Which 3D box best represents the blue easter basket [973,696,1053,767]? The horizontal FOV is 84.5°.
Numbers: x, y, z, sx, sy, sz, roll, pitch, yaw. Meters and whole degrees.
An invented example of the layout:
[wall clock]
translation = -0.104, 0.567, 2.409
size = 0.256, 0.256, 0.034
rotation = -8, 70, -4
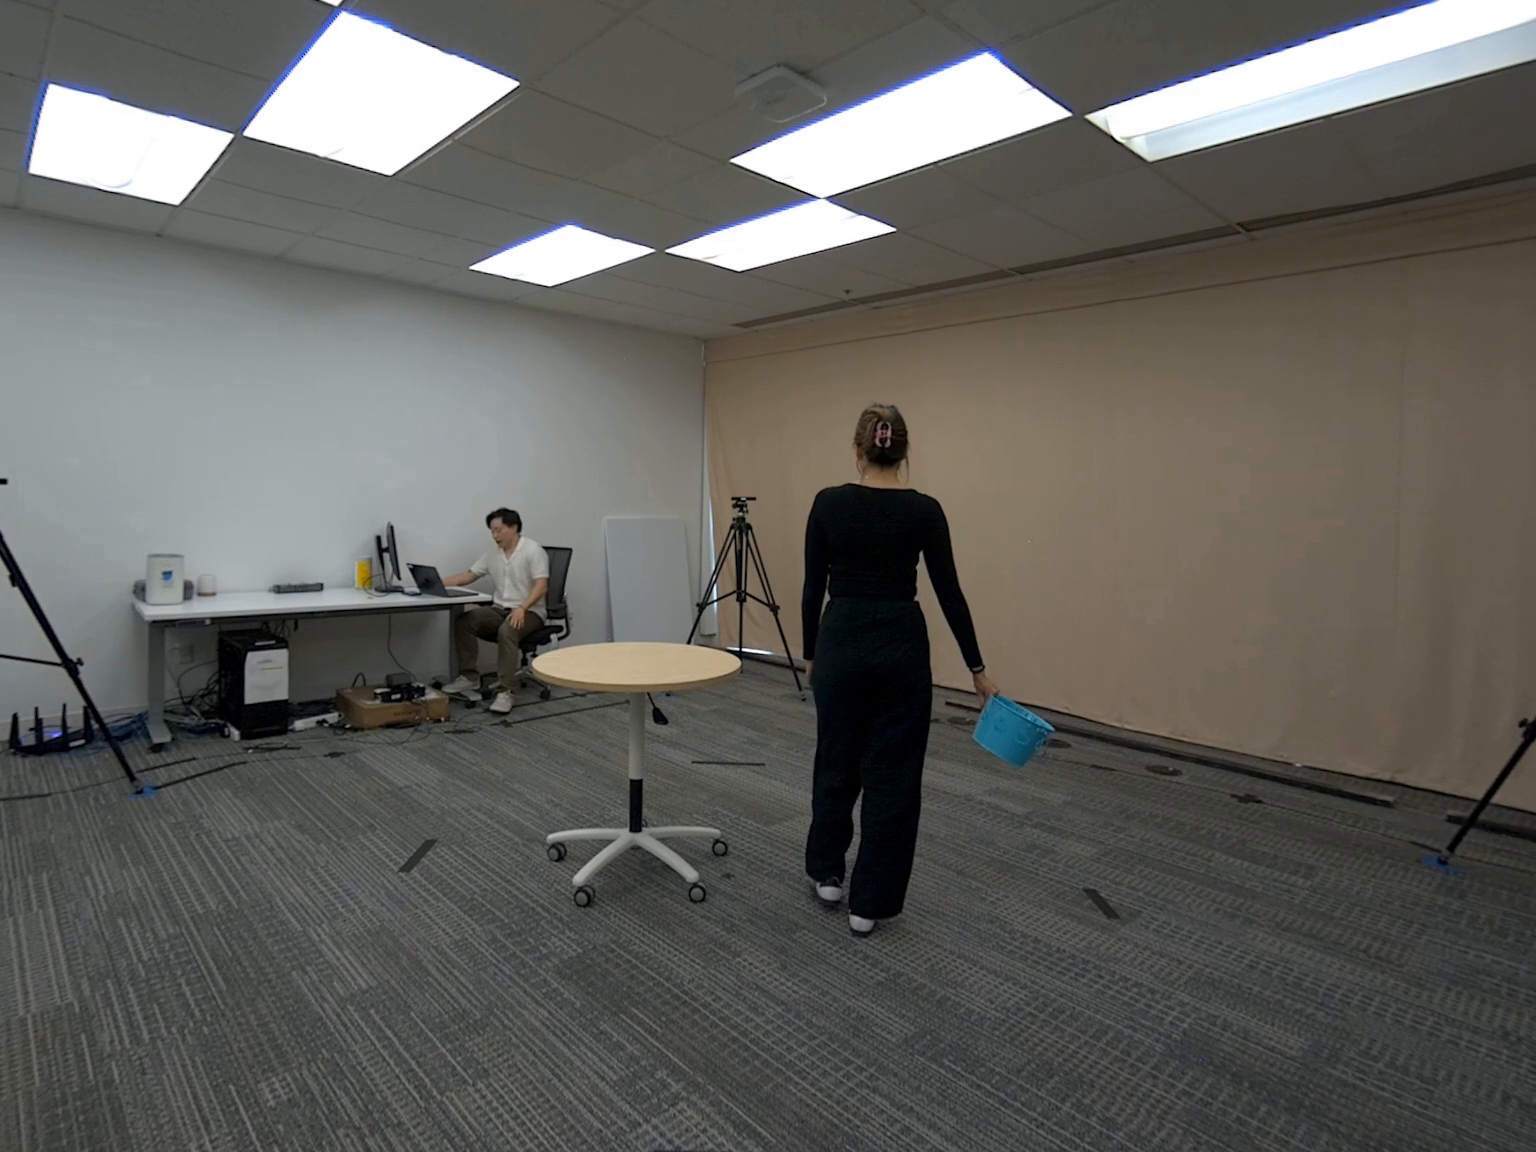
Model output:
[blue easter basket]
translation = 0.768, 0.500, 2.718
size = 0.242, 0.155, 0.245
rotation = 27, 7, -5
